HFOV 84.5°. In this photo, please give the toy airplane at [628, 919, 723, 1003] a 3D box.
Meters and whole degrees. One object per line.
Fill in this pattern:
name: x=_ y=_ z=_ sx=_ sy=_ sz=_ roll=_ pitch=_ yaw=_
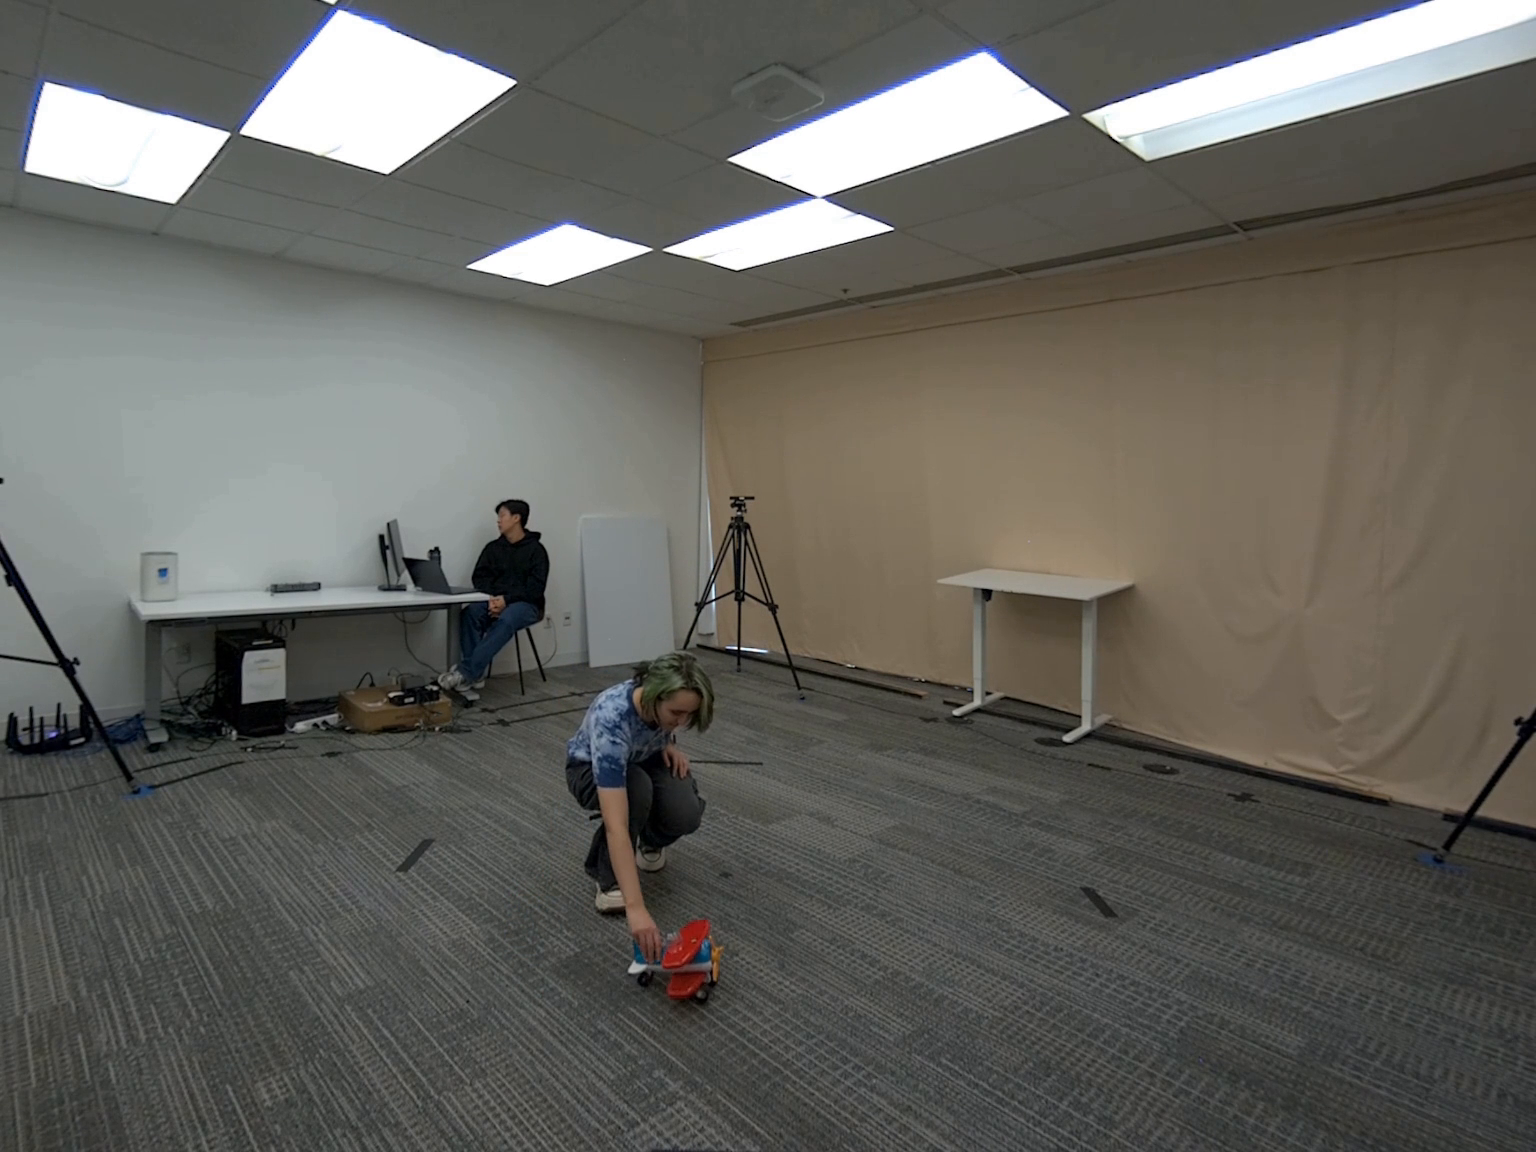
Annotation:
toy airplane: x=-0.266 y=1.097 z=2.353 sx=0.256 sy=0.156 sz=0.255 roll=1 pitch=5 yaw=-15
